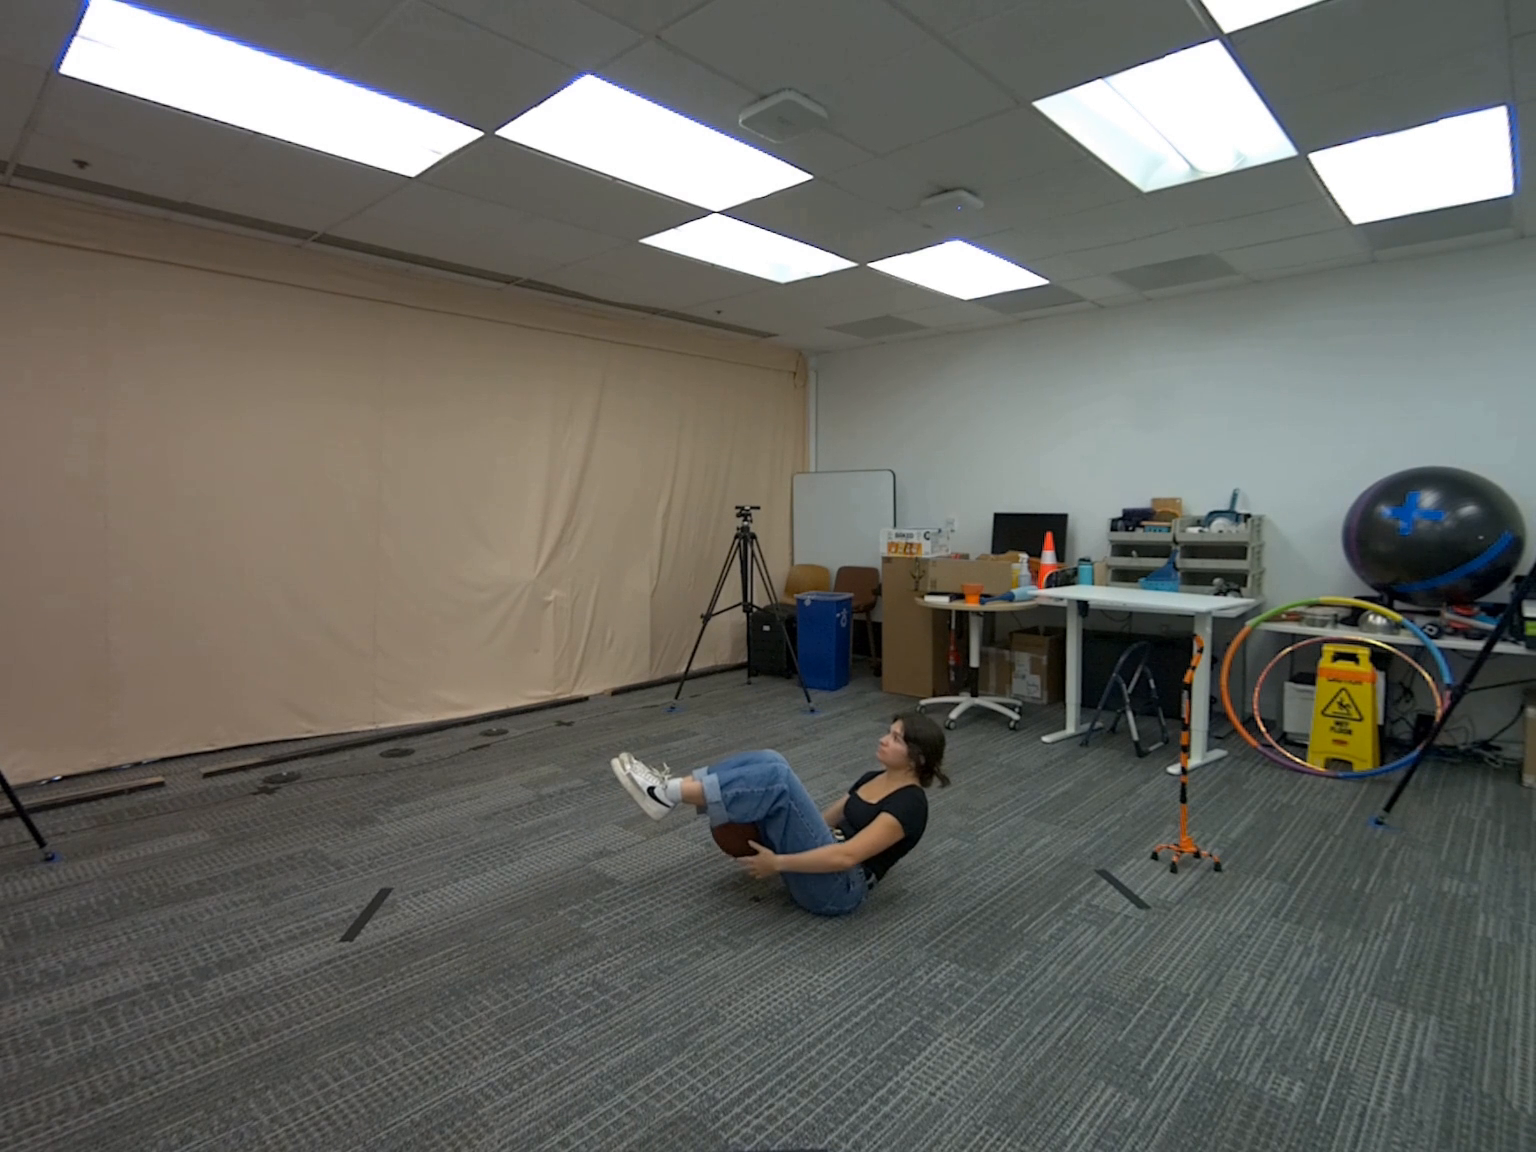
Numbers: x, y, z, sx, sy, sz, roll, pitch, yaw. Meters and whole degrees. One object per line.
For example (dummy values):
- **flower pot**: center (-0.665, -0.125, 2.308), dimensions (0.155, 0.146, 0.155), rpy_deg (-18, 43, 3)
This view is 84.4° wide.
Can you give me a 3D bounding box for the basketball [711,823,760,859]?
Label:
- **basketball**: center (-0.094, 0.910, 3.107), dimensions (0.236, 0.235, 0.237), rpy_deg (0, 4, -2)
